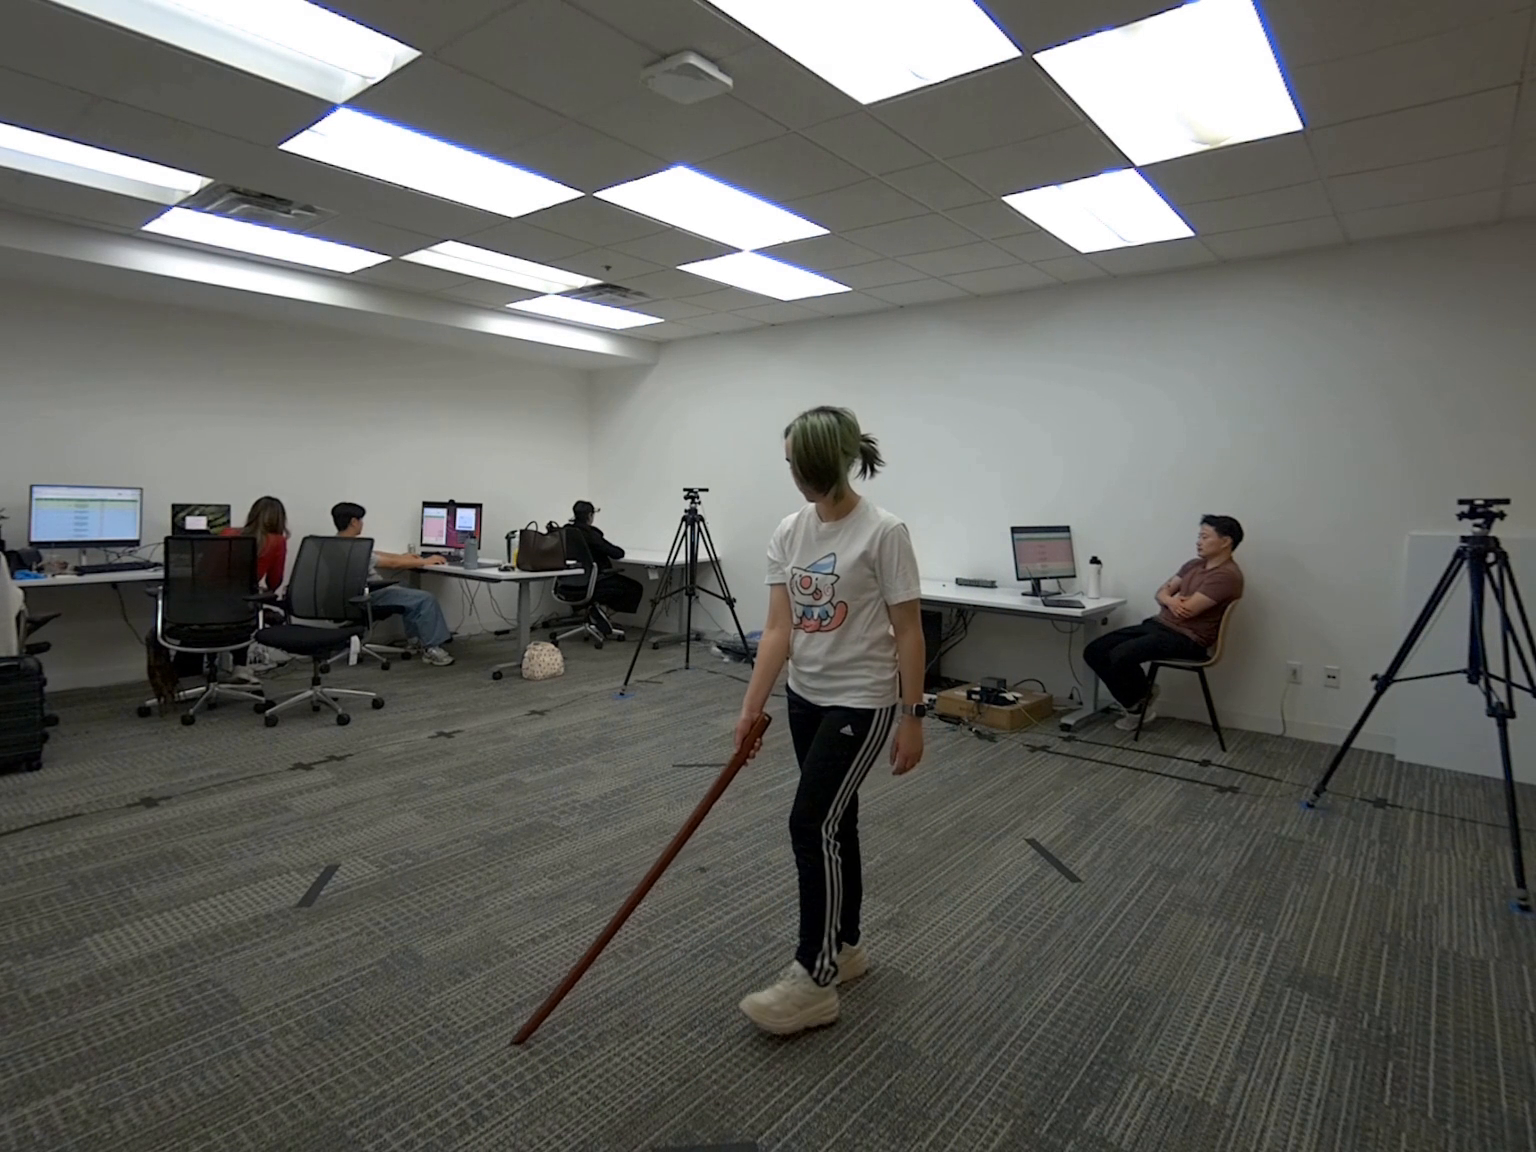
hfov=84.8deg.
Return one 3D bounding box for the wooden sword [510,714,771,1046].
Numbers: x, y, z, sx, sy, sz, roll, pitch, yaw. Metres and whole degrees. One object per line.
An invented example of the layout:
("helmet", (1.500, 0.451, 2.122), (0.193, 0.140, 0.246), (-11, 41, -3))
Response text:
("wooden sword", (-0.318, 0.781, 2.210), (0.051, 1.026, 0.024), (39, -14, -6))
